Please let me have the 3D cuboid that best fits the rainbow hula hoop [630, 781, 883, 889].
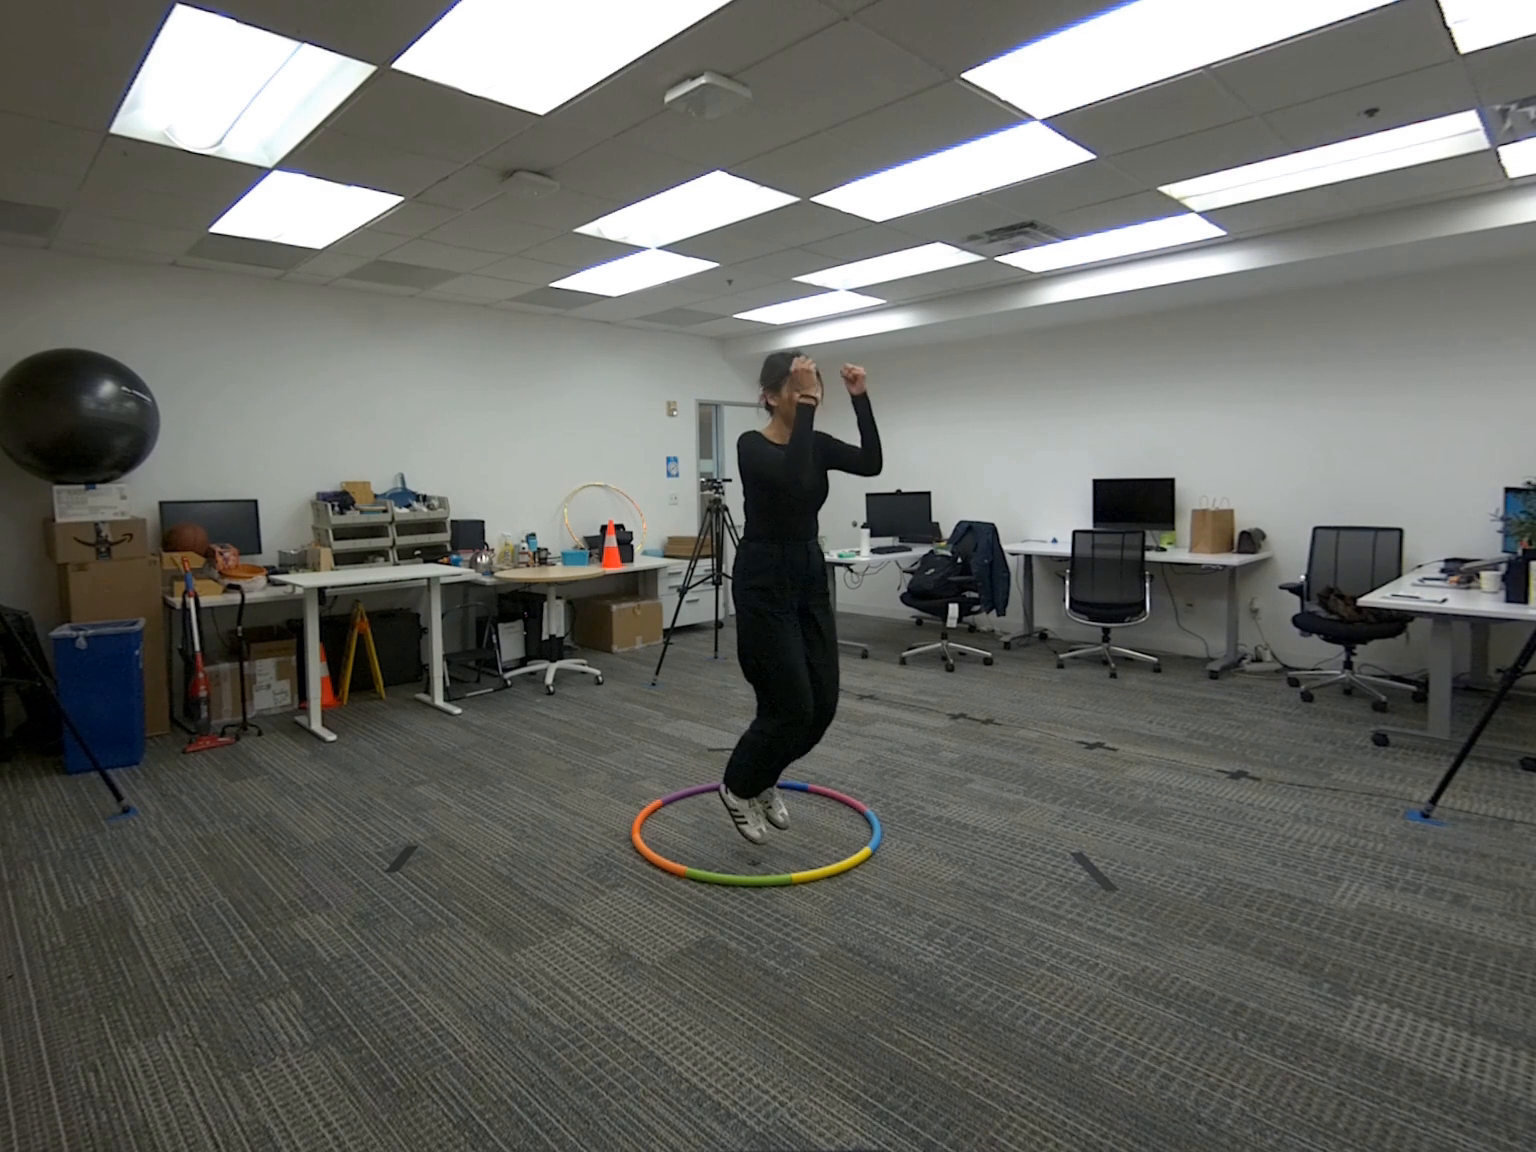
[{"bbox_3d":[-0.046,0.982,3.401,0.978,0.035,0.984,-1,6,-2],"label":"rainbow hula hoop"}]
